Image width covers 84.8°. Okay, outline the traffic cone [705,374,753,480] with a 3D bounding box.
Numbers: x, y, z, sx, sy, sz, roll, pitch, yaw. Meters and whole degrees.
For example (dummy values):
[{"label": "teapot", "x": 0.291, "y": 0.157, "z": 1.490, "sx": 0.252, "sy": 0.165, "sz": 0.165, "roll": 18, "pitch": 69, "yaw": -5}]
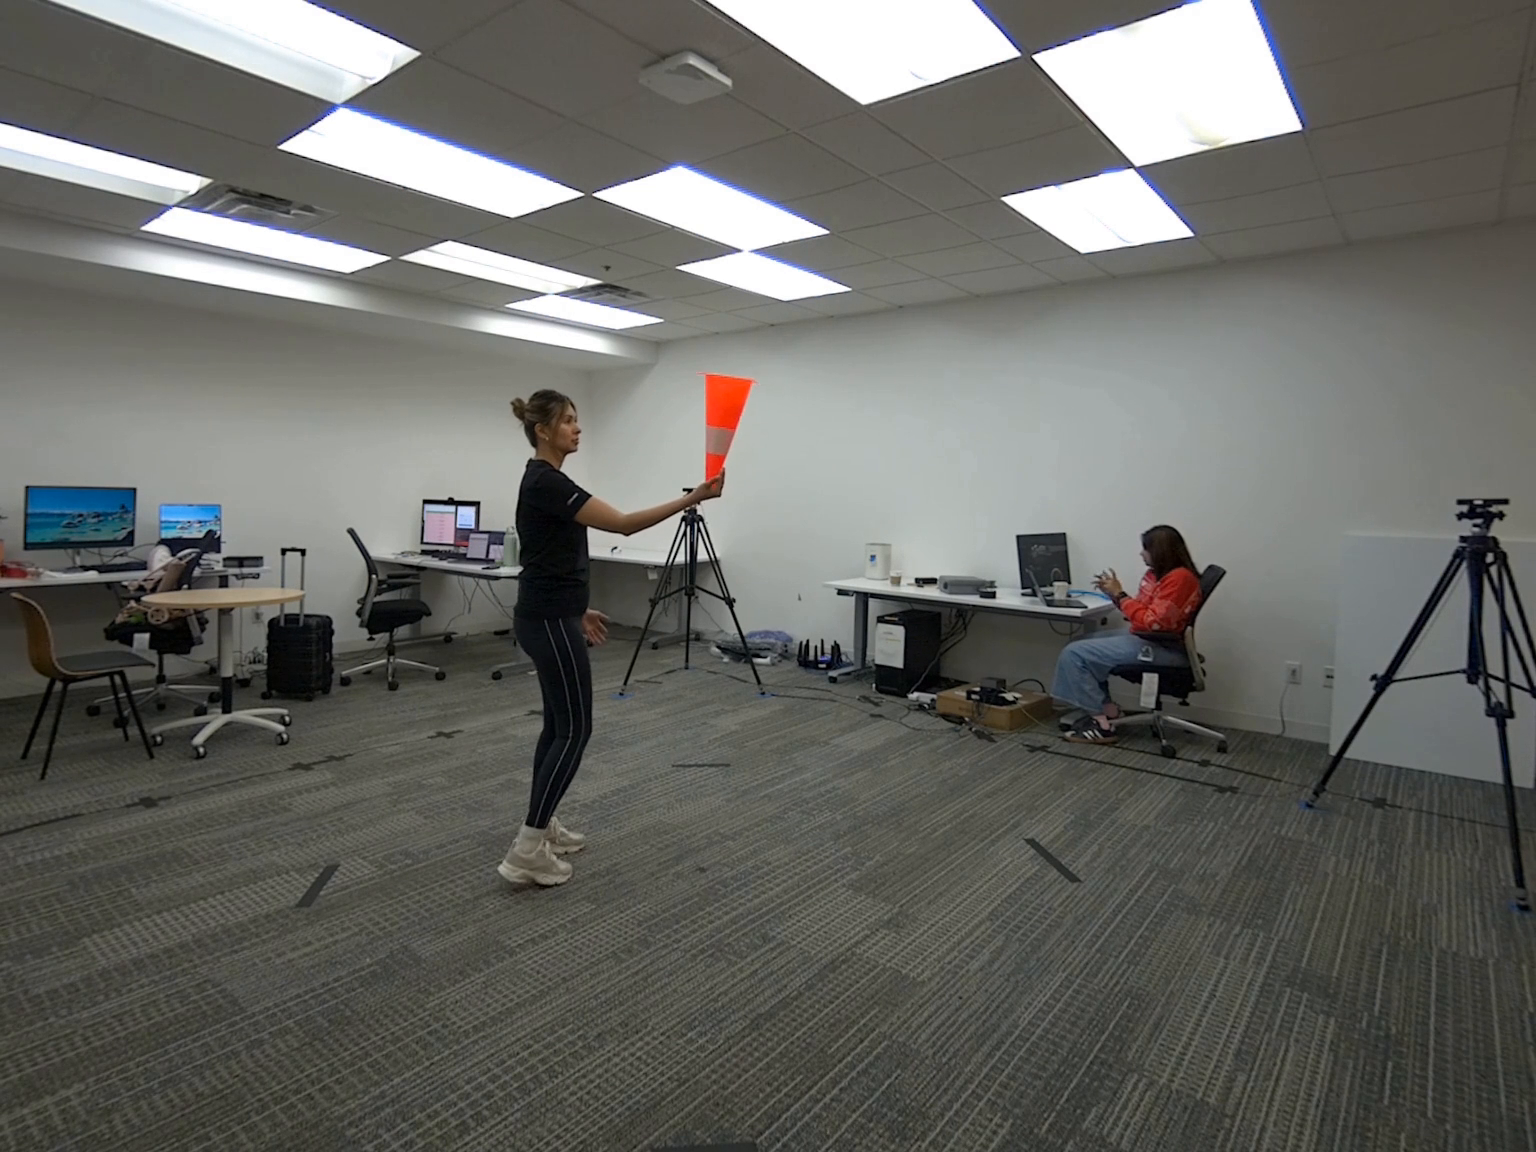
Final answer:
[{"label": "traffic cone", "x": -0.173, "y": -0.479, "z": 2.853, "sx": 0.206, "sy": 0.381, "sz": 0.203, "roll": 9, "pitch": 7, "yaw": 4}]
